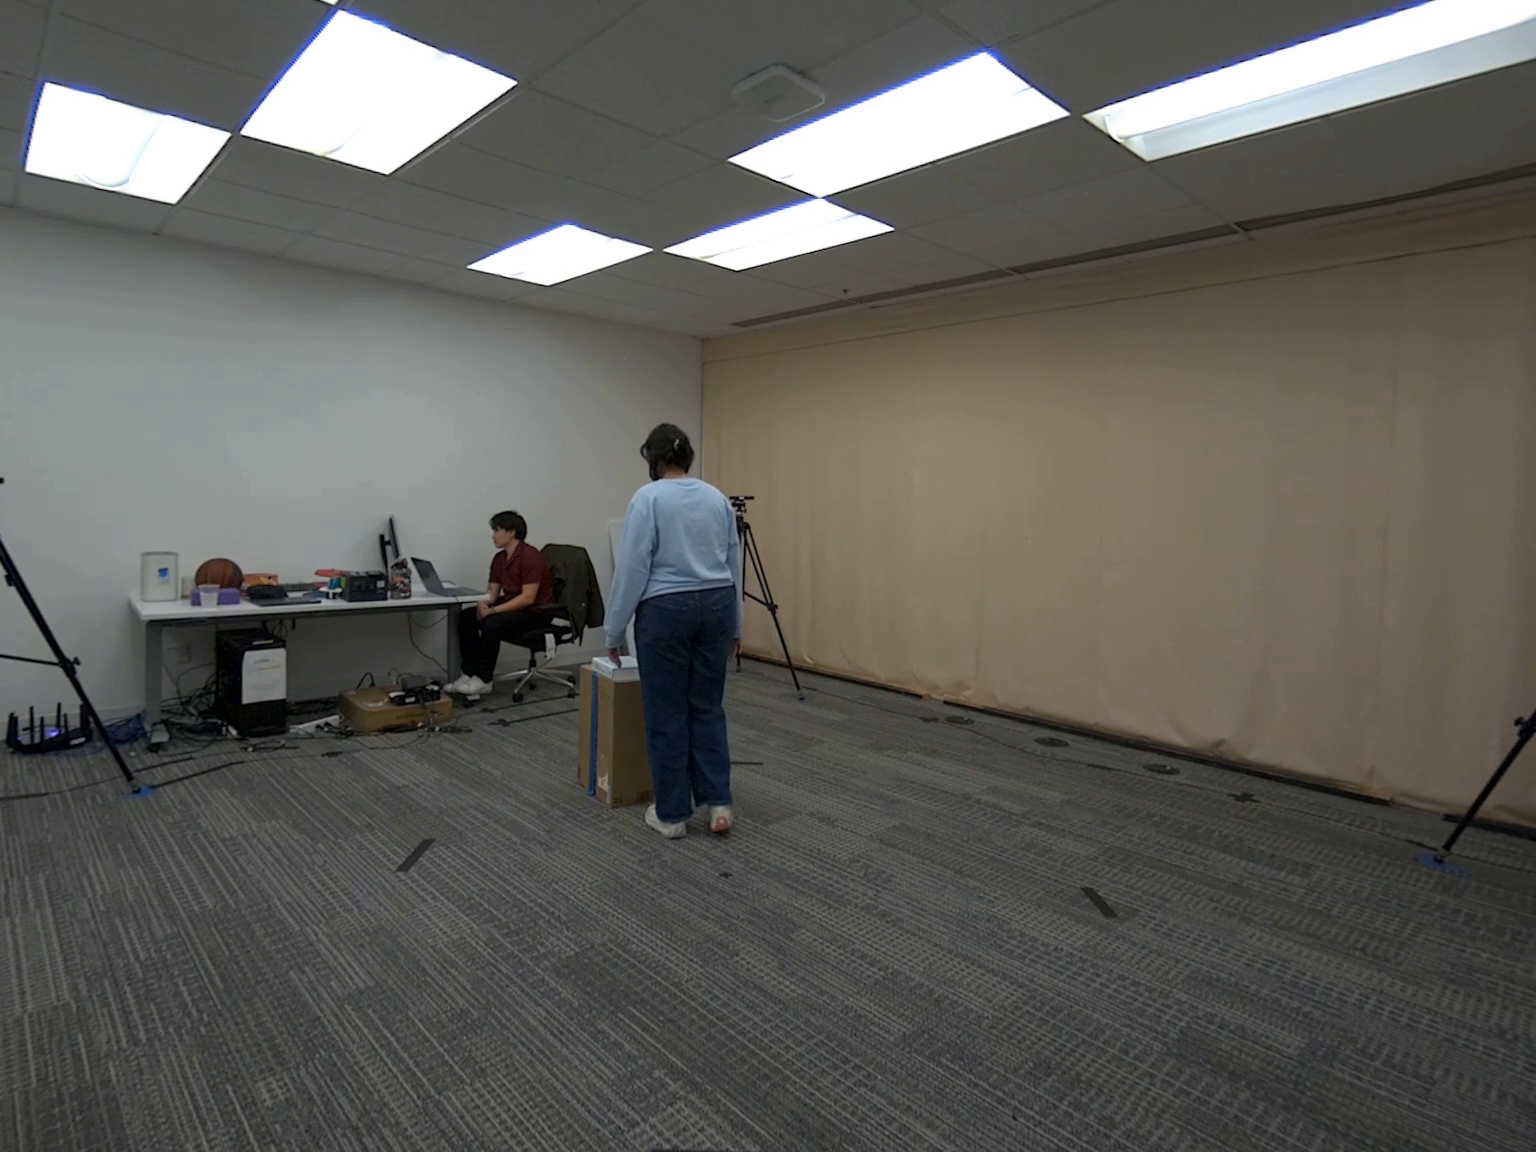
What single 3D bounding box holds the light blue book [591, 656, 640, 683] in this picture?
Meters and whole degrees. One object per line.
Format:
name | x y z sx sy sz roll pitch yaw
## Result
light blue book | -0.682 0.427 3.914 0.187 0.059 0.267 0 5 -31
